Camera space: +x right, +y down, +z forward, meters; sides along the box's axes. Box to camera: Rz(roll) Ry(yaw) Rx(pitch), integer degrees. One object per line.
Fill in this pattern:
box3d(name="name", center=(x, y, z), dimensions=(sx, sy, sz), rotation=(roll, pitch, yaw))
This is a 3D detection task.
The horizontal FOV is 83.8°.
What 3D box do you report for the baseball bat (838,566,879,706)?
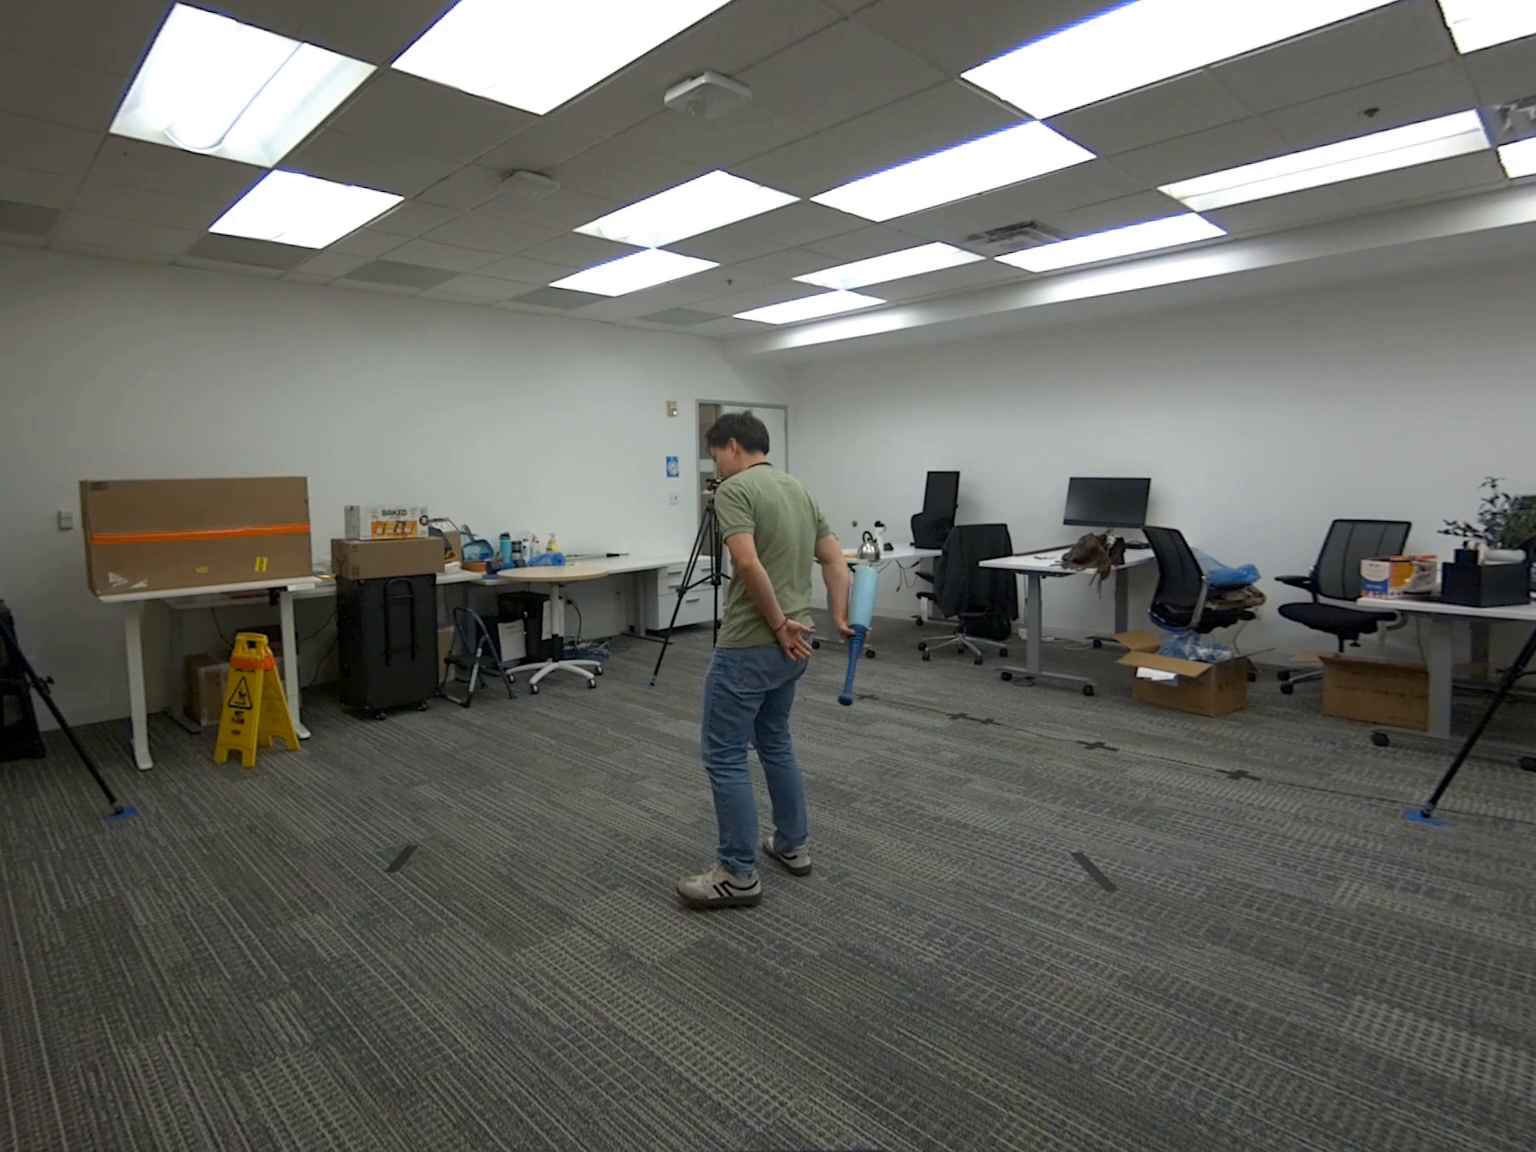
box3d(name="baseball bat", center=(0.308, 0.203, 2.975), dimensions=(0.090, 0.553, 0.087), rotation=(10, -35, 5))
